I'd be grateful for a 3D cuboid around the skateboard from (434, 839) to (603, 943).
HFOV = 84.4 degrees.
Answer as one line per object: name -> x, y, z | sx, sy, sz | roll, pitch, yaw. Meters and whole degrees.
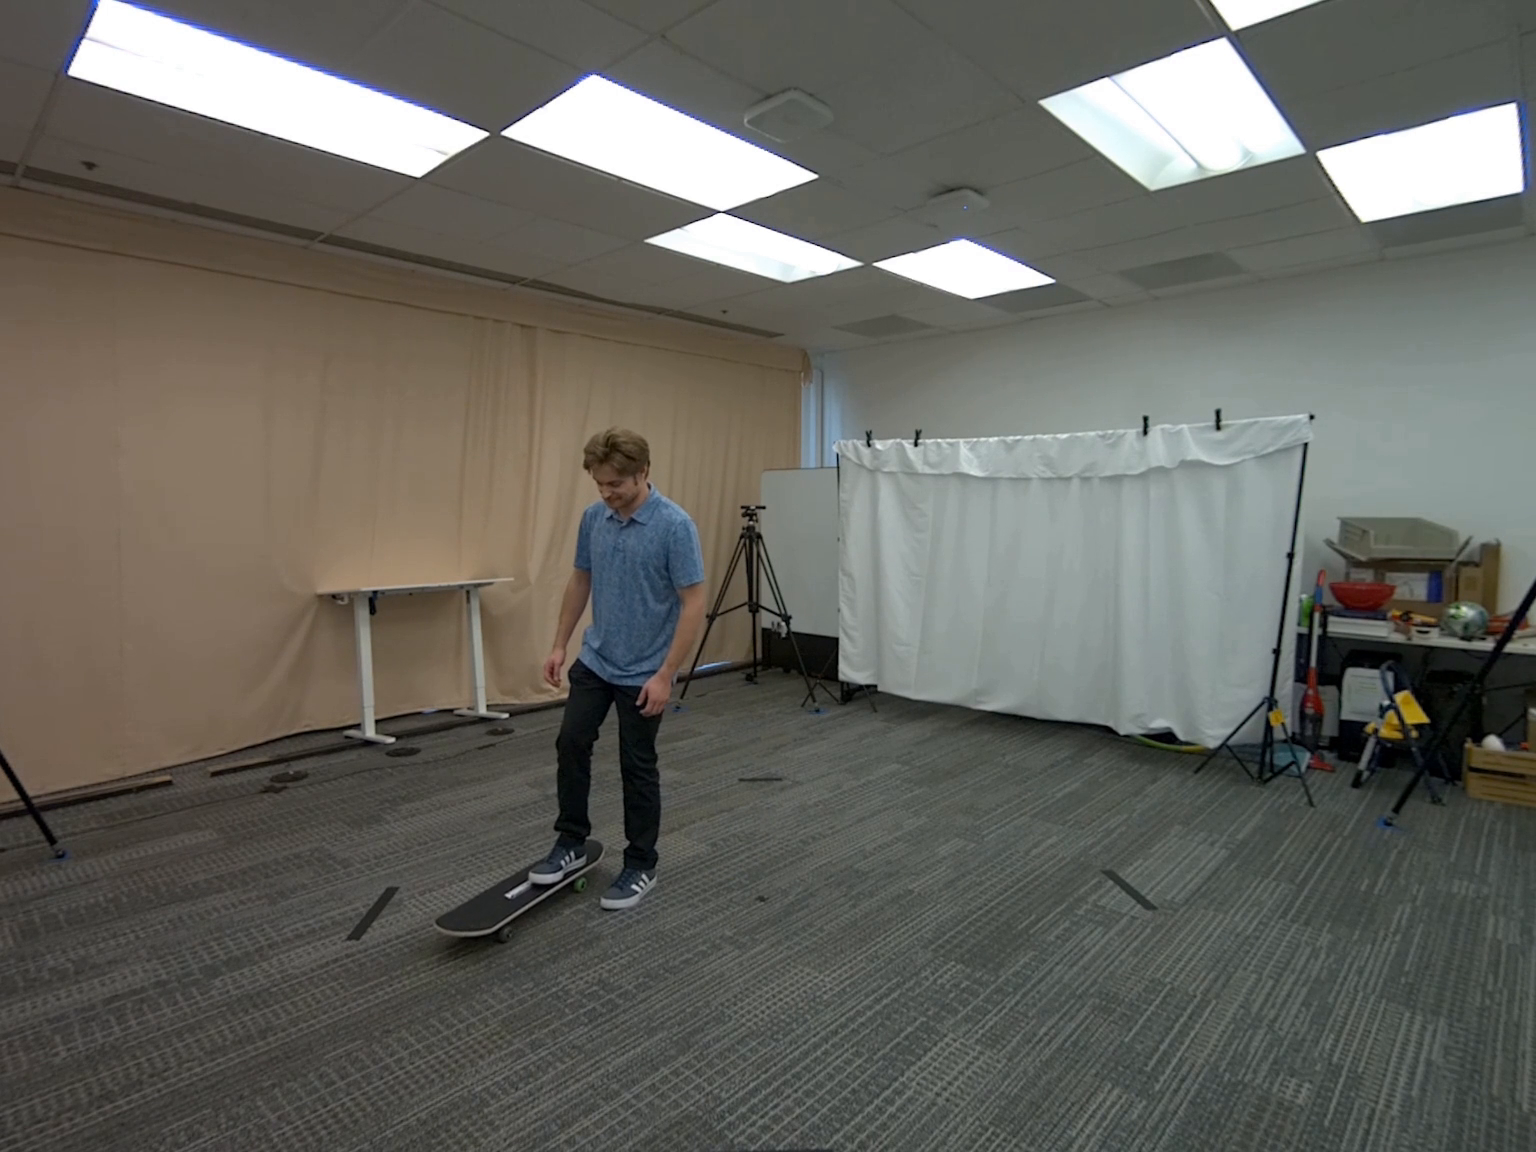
skateboard -> -0.829, 1.098, 2.905 | 0.198, 0.110, 0.767 | 3, 5, 24
